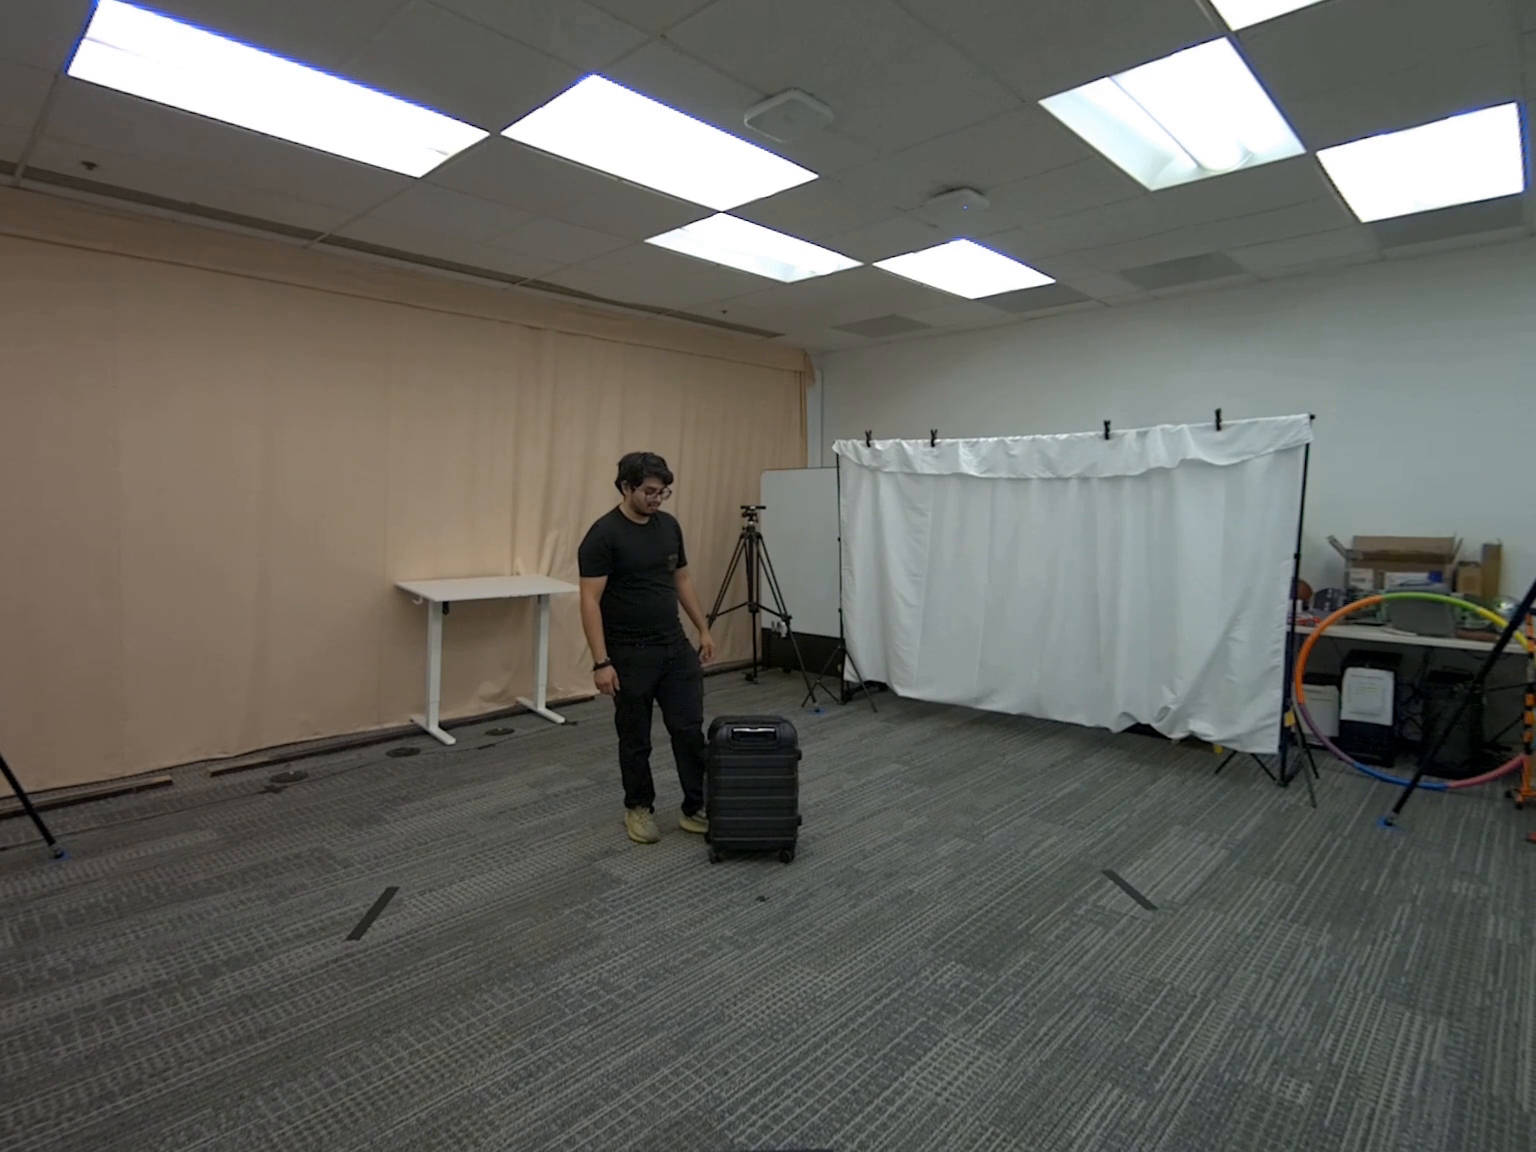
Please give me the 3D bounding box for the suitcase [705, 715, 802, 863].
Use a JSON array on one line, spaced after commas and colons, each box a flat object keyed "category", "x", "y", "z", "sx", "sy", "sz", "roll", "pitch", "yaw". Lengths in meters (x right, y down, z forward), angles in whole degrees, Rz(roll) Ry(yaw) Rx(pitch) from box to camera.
[{"category": "suitcase", "x": -0.062, "y": 0.832, "z": 3.365, "sx": 0.375, "sy": 0.548, "sz": 0.249, "roll": -1, "pitch": 3, "yaw": -2}]
